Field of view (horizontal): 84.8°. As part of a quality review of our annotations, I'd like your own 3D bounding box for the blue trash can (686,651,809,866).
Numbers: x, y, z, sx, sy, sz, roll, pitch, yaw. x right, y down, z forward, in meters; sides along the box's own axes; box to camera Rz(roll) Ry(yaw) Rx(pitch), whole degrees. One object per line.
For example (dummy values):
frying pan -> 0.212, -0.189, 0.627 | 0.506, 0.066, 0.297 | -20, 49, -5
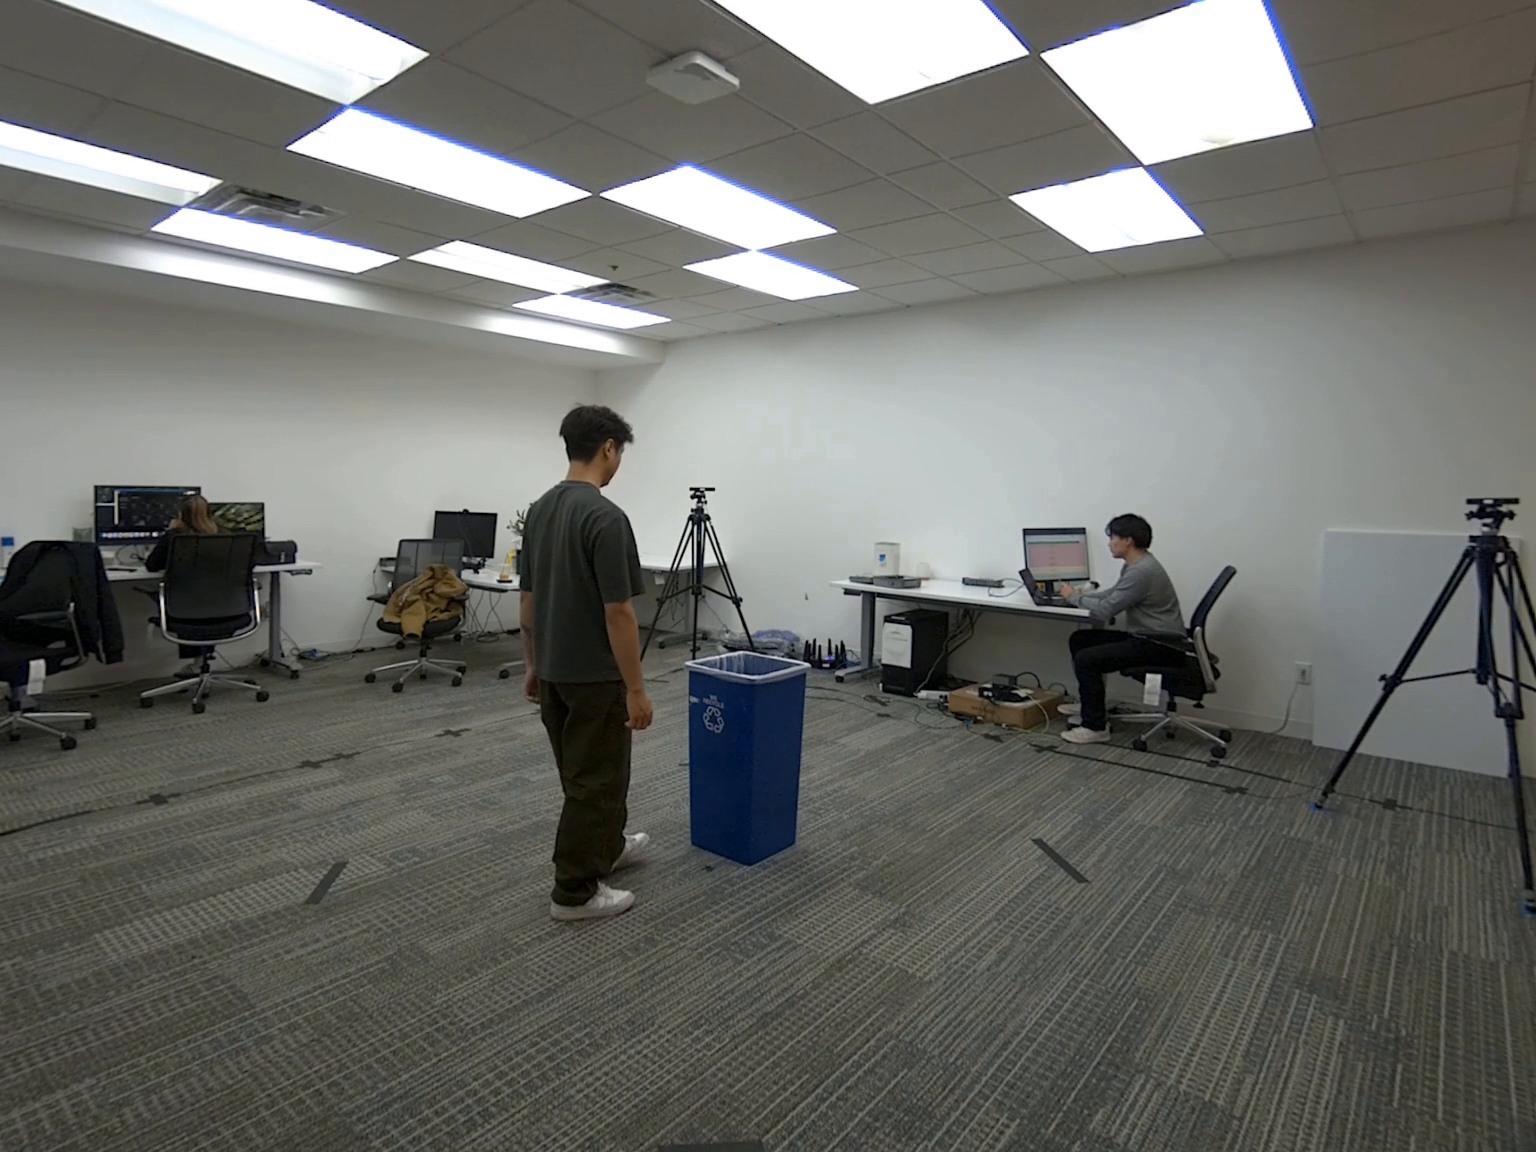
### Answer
blue trash can -> -0.097, 0.690, 3.327 | 0.391, 0.711, 0.363 | 4, 5, 39
